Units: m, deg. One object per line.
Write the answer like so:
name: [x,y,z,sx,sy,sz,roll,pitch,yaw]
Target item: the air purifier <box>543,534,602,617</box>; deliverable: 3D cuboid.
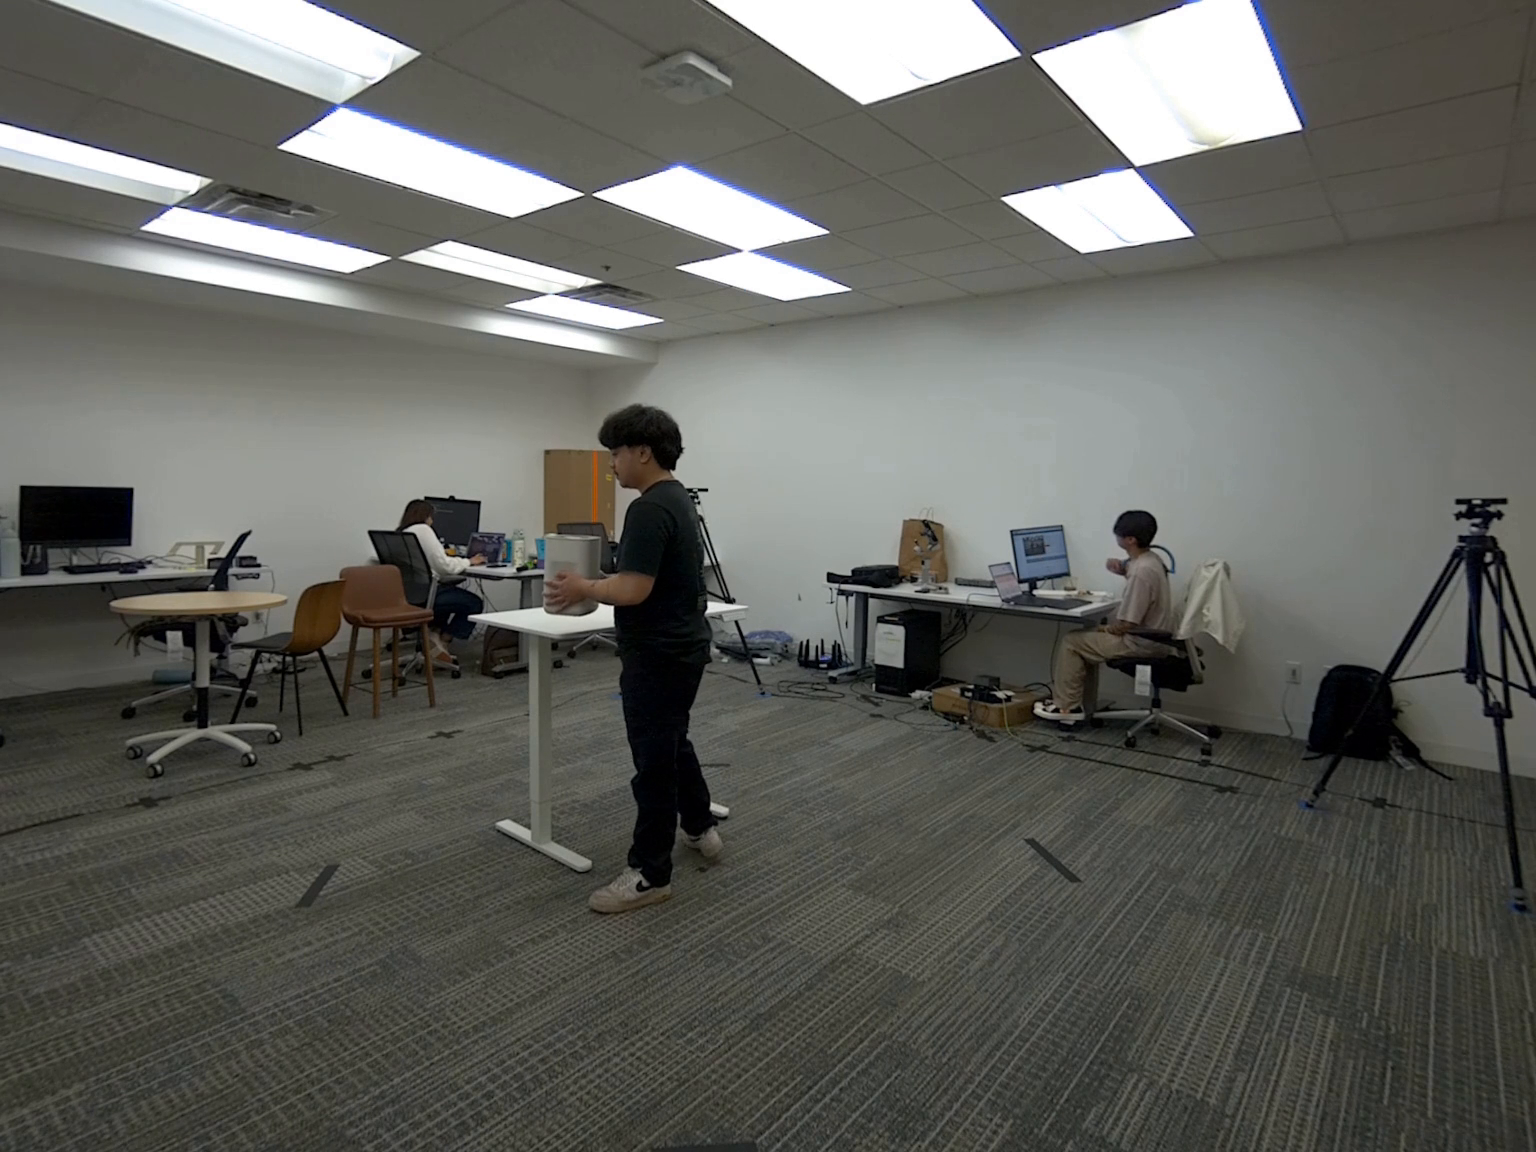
air purifier: [-0.683,-0.006,2.942,0.173,0.264,0.170,3,4,6]
